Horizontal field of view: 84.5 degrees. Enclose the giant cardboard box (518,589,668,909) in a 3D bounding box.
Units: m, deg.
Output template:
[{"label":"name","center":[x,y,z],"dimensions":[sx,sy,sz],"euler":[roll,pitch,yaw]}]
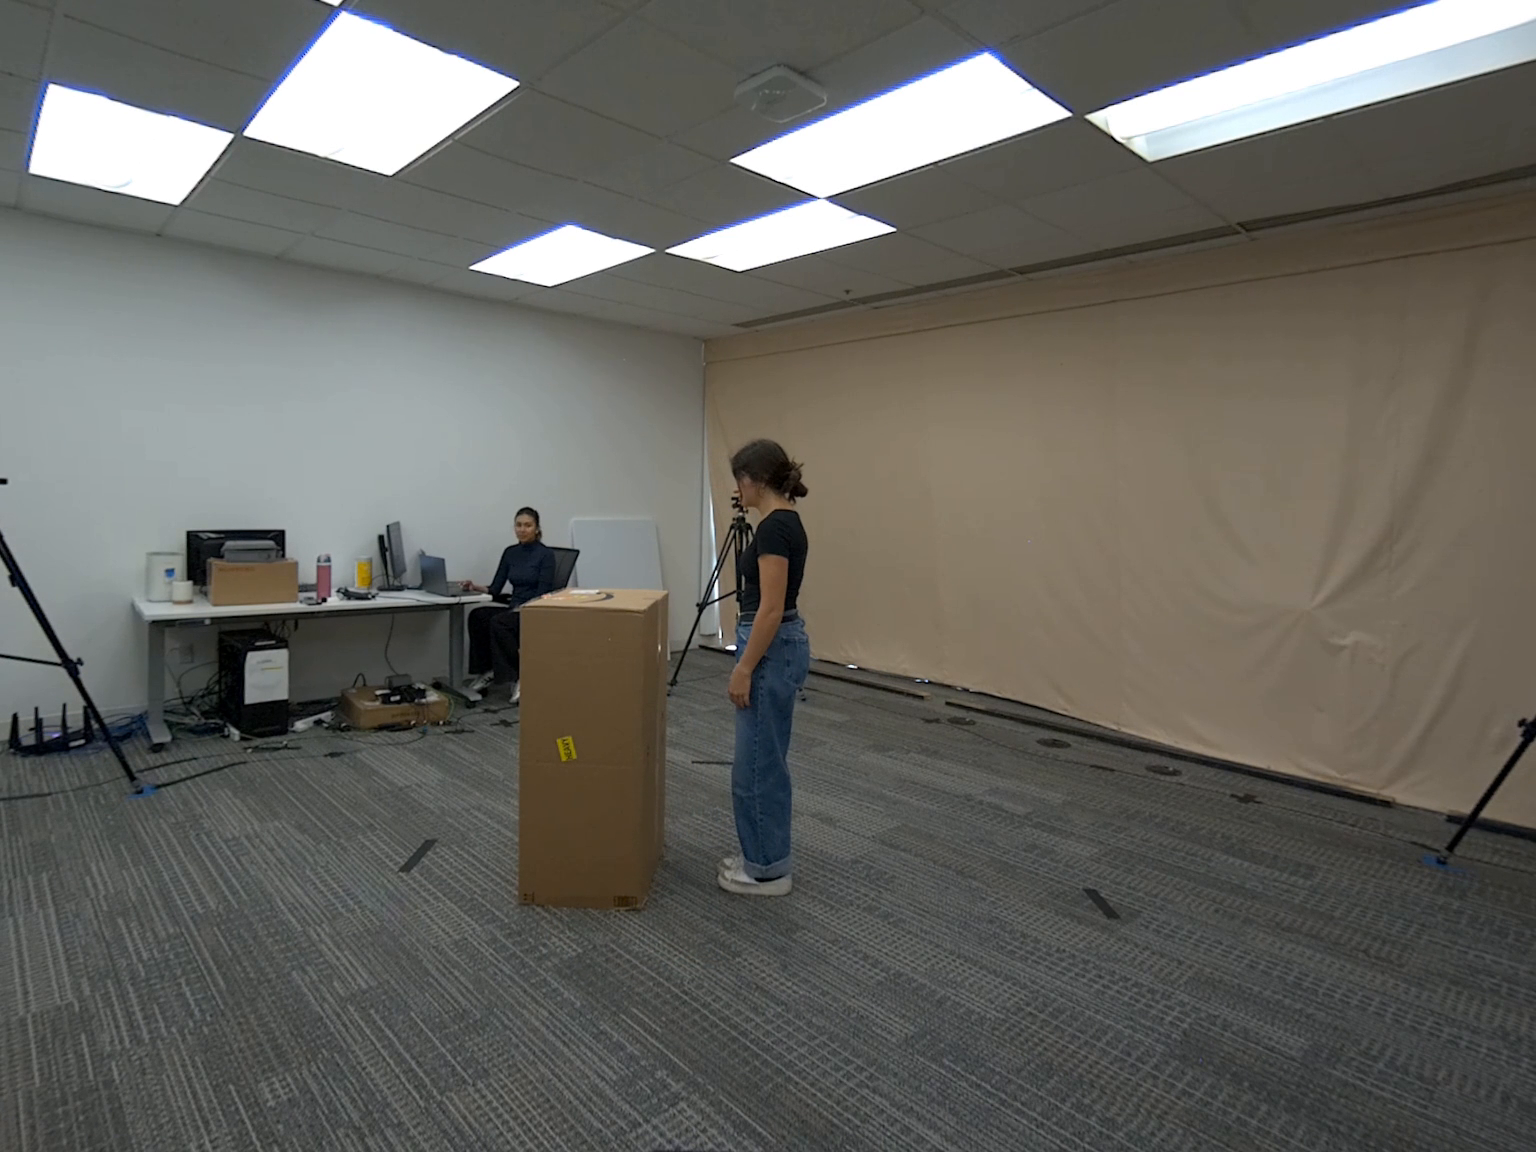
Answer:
[{"label":"giant cardboard box","center":[-0.626,0.590,3.095],"dimensions":[0.427,1.023,0.578],"euler":[1,3,2]}]
